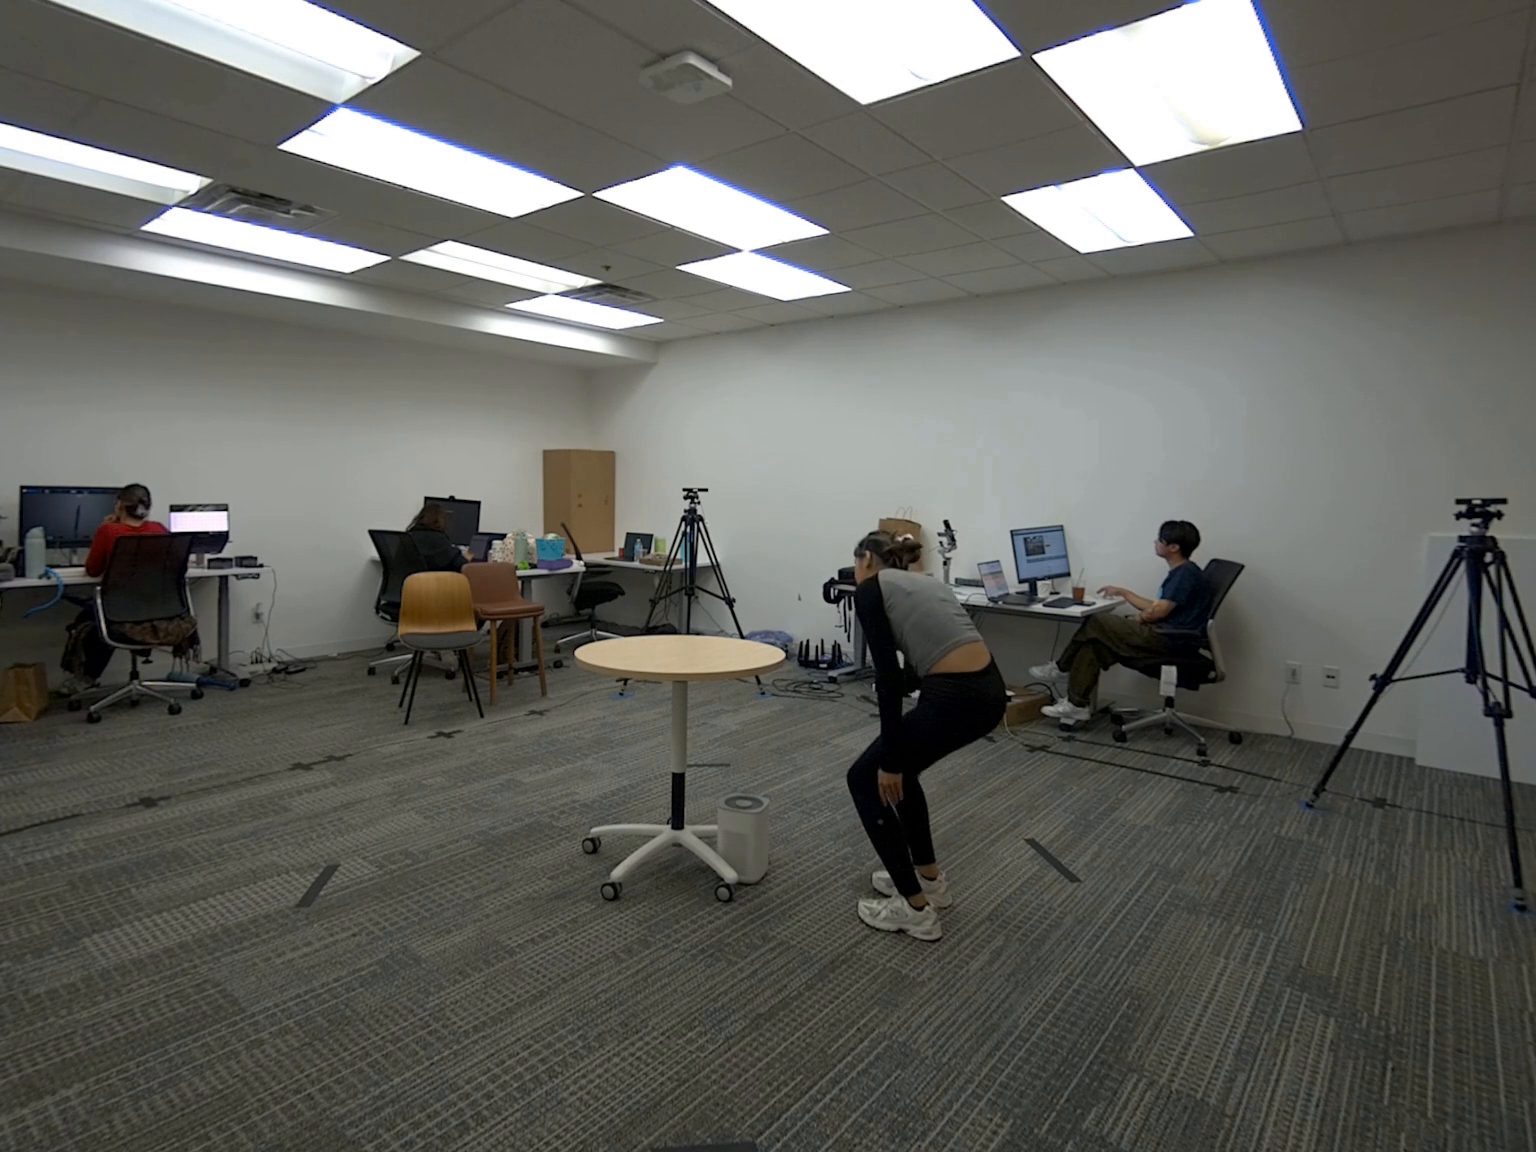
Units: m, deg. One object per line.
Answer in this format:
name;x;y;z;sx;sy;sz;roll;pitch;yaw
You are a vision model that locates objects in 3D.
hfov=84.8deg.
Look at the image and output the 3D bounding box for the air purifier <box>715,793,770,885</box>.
air purifier;-0.098;0.938;3.066;0.175;0.264;0.168;3;4;15
